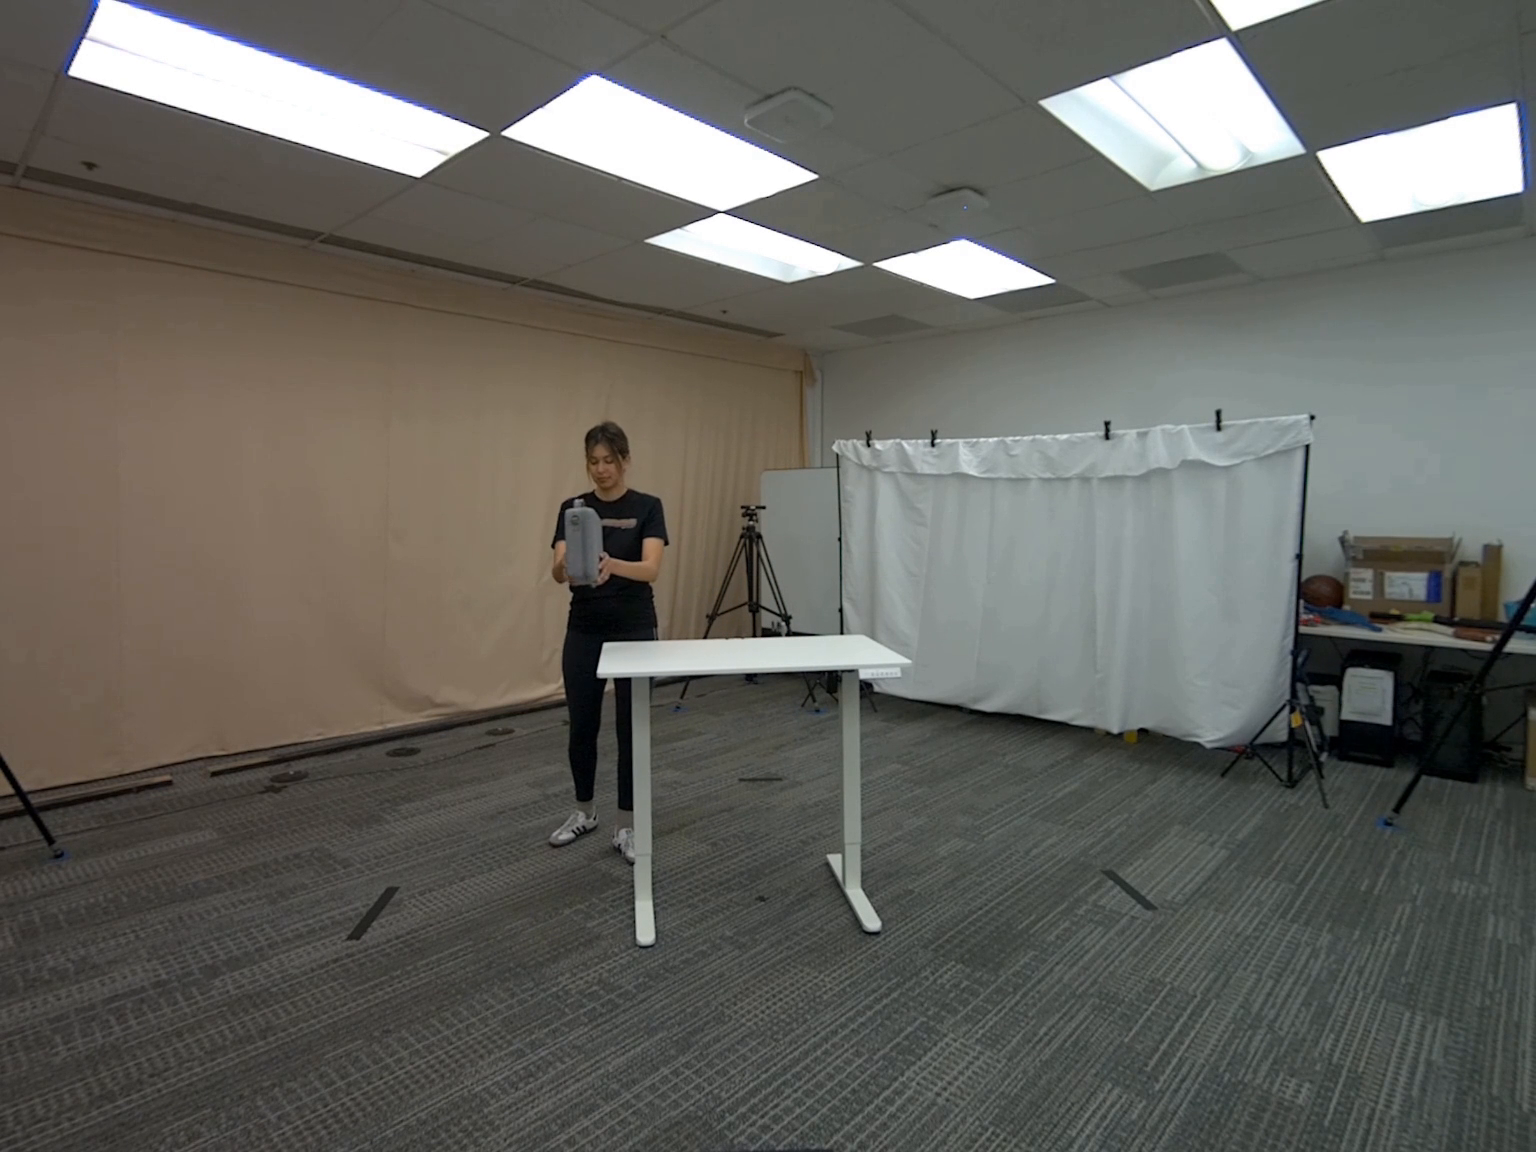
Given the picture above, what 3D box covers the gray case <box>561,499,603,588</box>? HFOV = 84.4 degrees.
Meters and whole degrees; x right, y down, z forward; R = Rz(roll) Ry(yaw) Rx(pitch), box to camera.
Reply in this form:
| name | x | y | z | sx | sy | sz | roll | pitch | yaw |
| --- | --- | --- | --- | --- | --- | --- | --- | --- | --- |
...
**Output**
| name | x | y | z | sx | sy | sz | roll | pitch | yaw |
| --- | --- | --- | --- | --- | --- | --- | --- | --- | --- |
| gray case | -0.645 | -0.108 | 2.963 | 0.103 | 0.262 | 0.258 | 1 | -8 | -9 |
